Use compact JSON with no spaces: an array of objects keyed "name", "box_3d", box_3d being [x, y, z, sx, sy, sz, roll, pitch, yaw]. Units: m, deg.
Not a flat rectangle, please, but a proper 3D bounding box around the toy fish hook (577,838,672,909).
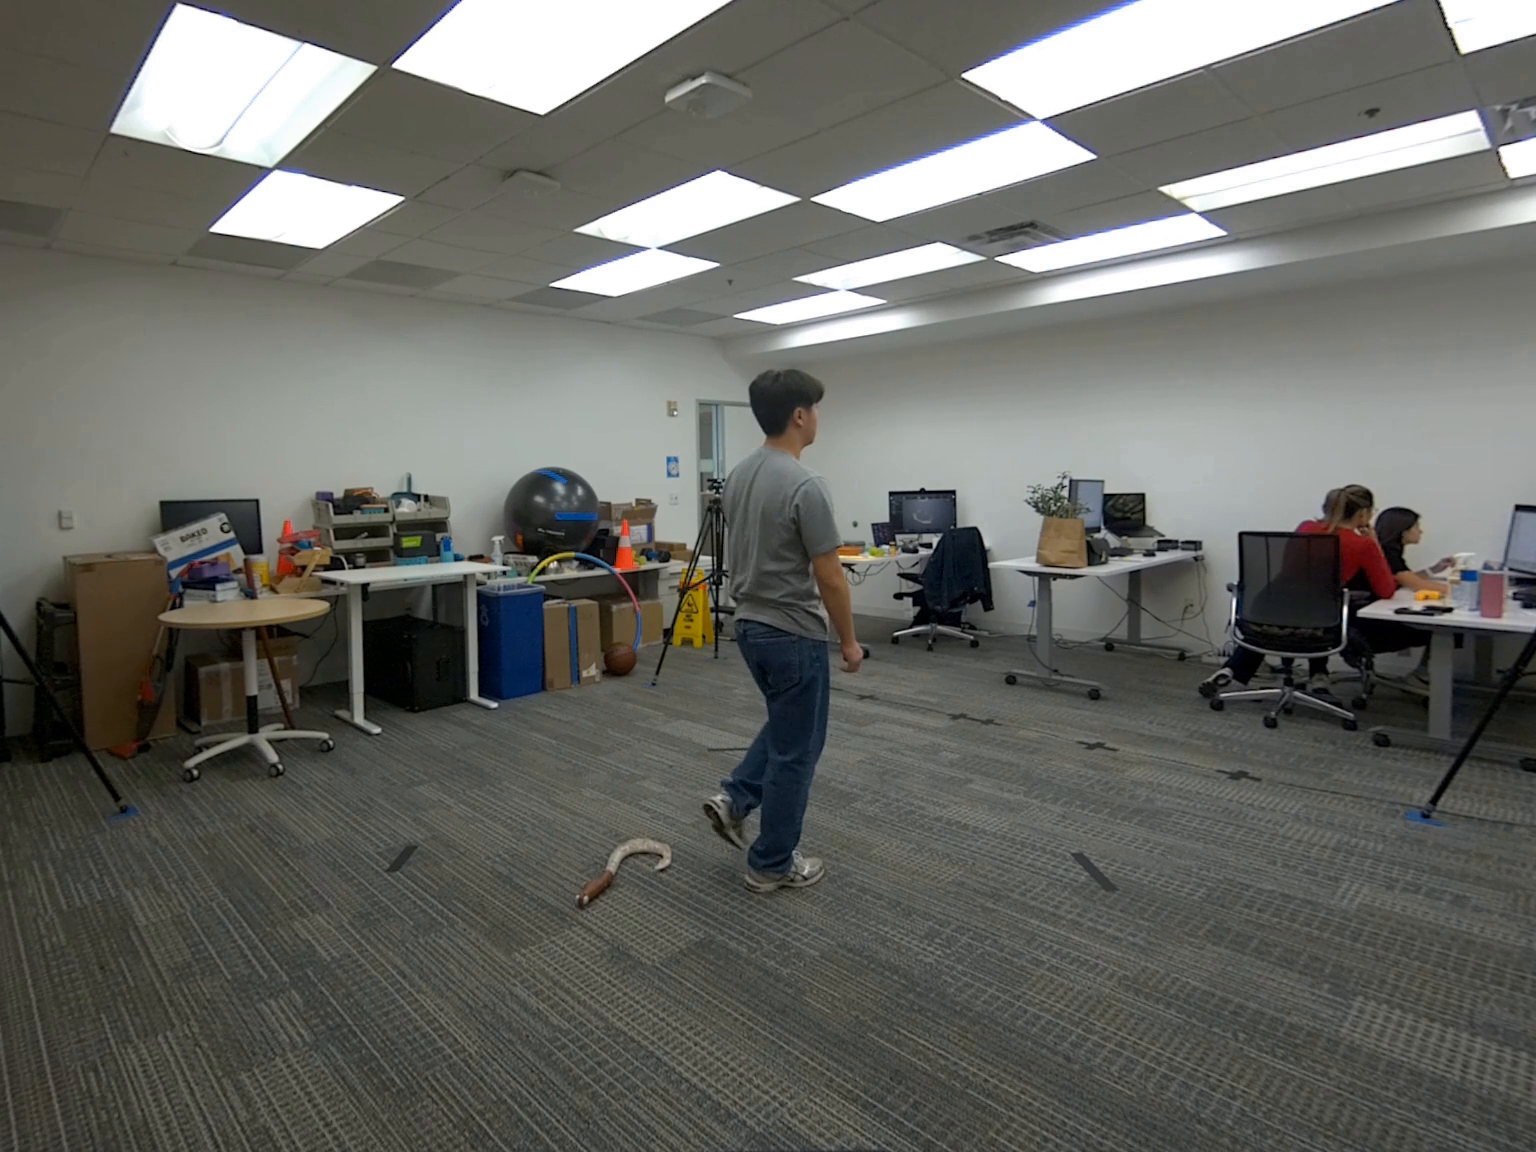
[{"name":"toy fish hook","box_3d":[-0.490,1.040,3.009,0.228,0.048,0.501,0,7,16]}]
